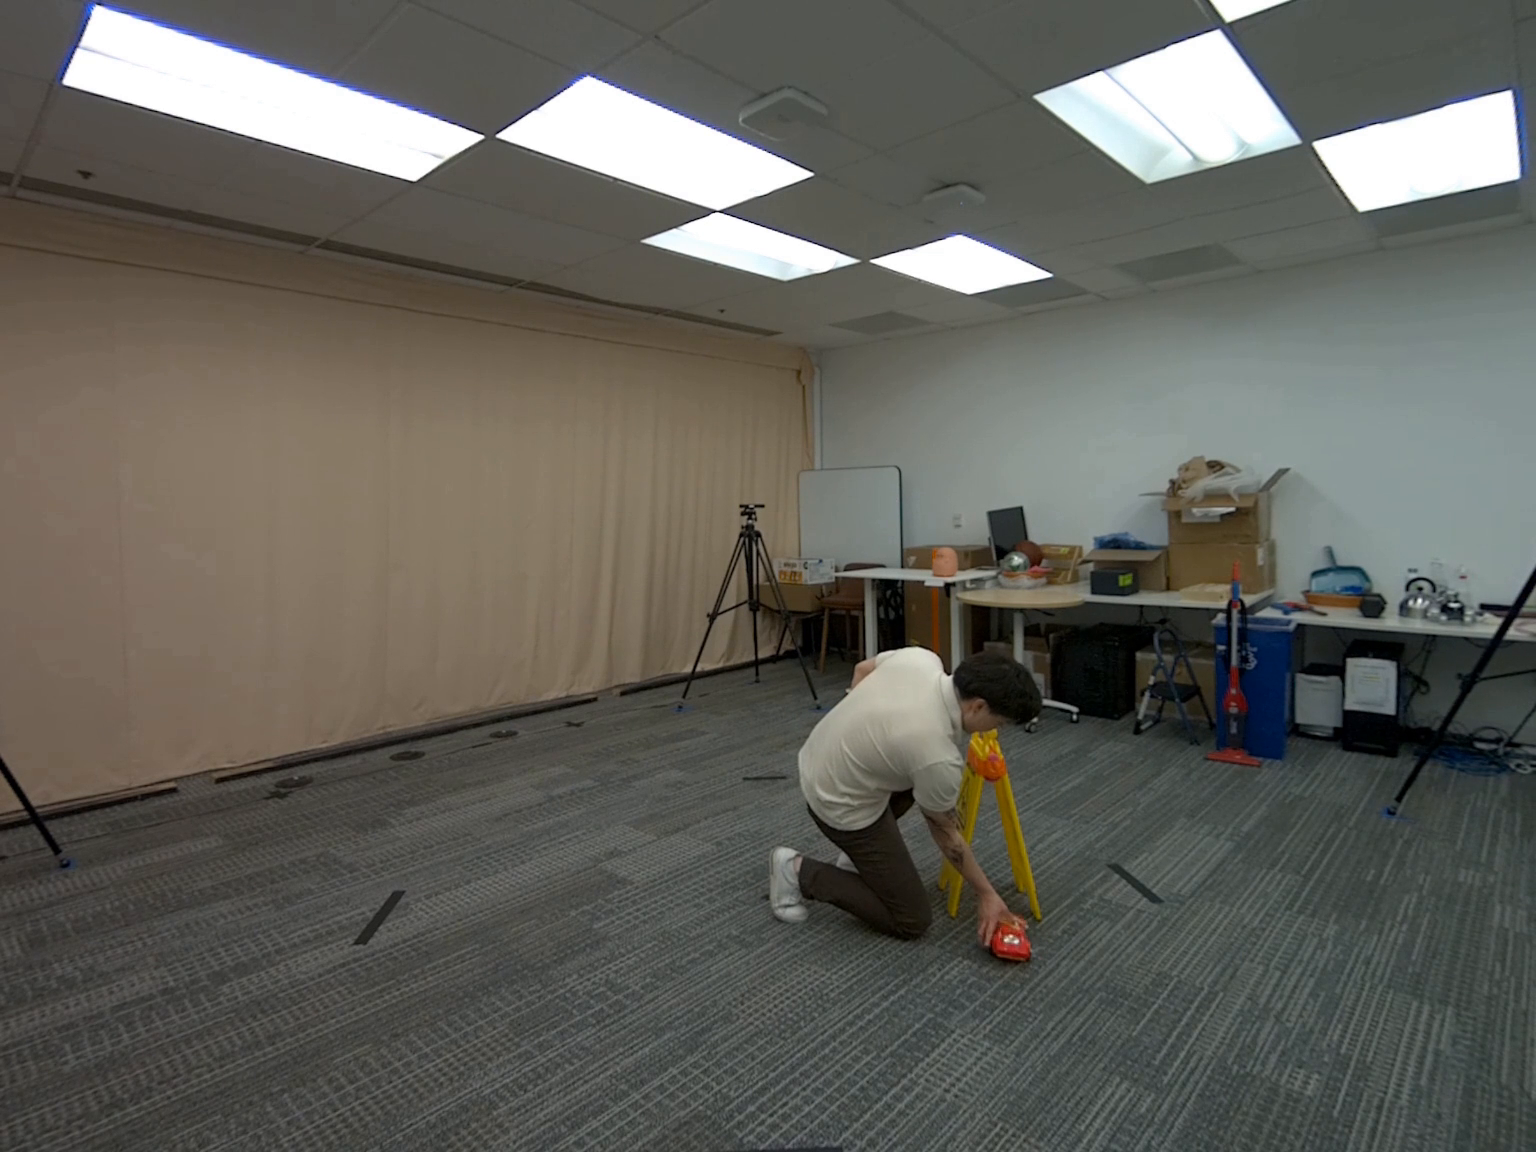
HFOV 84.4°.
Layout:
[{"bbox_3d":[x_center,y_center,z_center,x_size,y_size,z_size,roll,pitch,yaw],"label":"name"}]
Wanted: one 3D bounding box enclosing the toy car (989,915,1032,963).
[{"bbox_3d":[0.748,1.118,2.606,0.132,0.083,0.250,2,-3,12],"label":"toy car"}]
